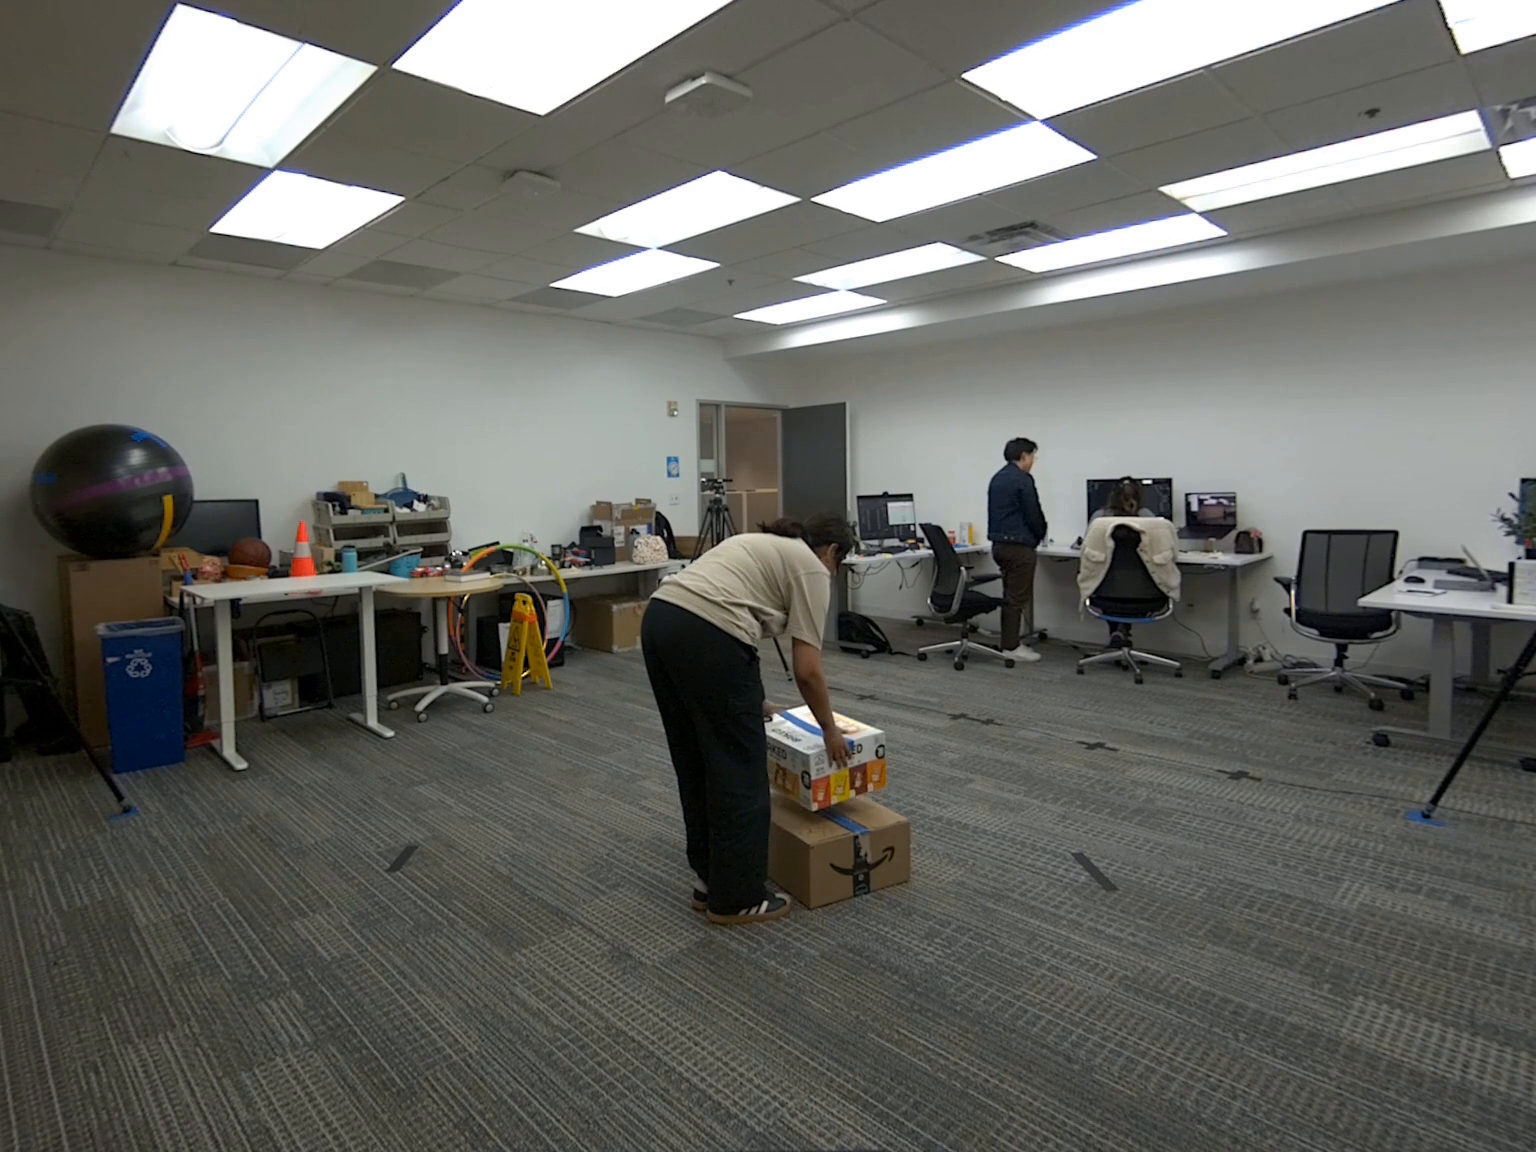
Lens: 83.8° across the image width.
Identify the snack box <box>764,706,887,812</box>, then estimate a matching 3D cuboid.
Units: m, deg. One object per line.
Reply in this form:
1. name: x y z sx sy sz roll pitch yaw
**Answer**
1. snack box: 0.166 0.644 3.119 0.332 0.204 0.418 -8 11 -33
